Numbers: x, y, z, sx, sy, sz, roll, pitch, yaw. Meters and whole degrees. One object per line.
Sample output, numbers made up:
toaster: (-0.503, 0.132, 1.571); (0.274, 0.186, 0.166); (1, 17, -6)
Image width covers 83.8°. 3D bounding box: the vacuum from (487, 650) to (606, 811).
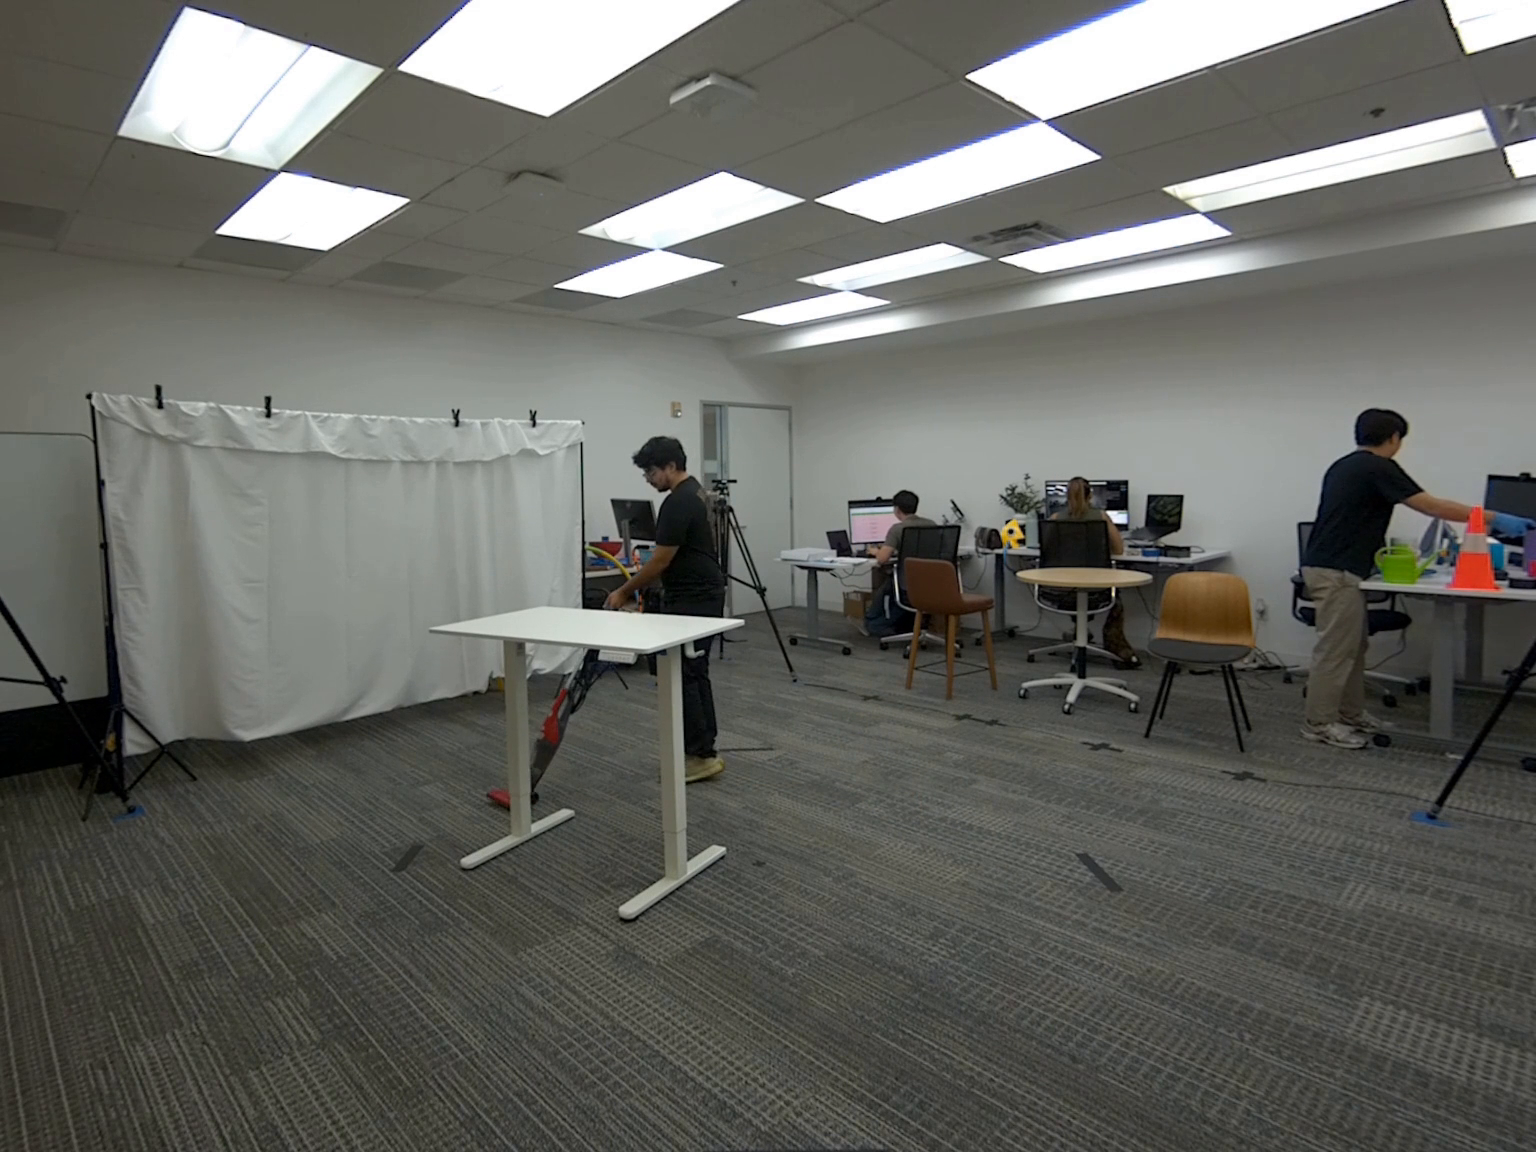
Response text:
vacuum: (-0.896, 0.529, 3.916); (0.261, 1.058, 0.138); (8, -25, 37)
